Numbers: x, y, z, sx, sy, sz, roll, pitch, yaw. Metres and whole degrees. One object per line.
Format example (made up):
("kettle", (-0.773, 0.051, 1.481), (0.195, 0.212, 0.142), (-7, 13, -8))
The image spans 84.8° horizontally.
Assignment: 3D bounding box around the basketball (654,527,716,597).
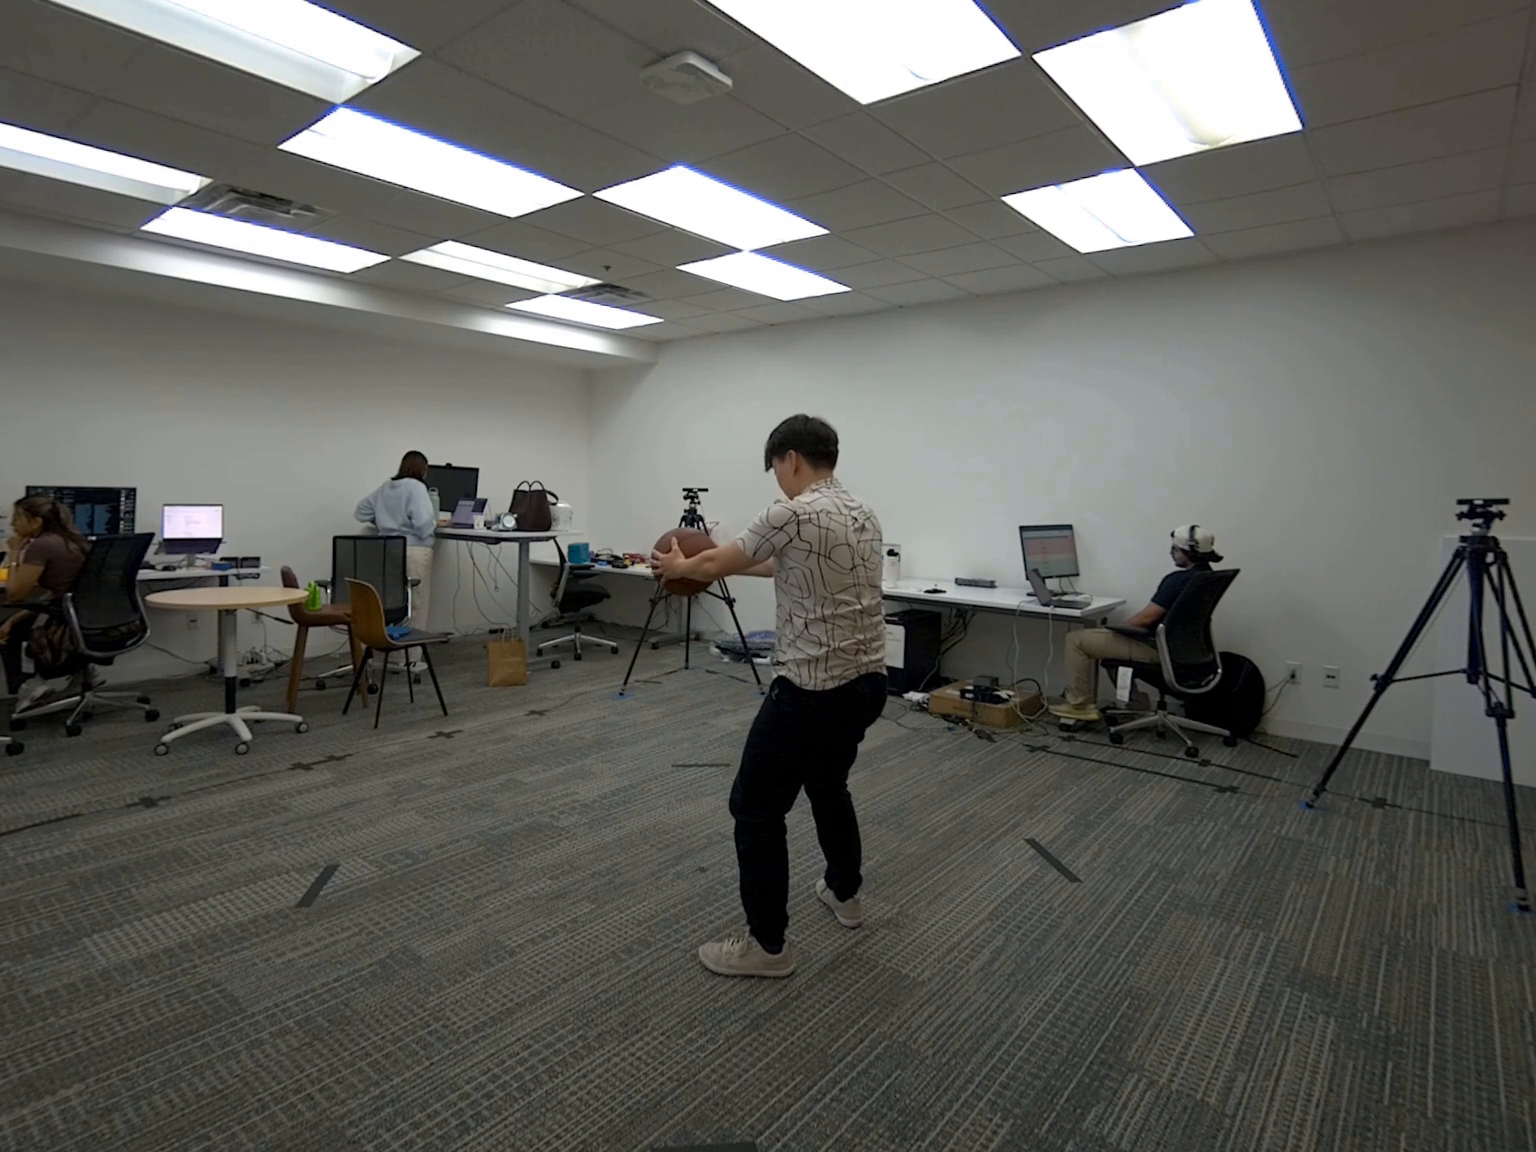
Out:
("basketball", (-0.296, -0.048, 2.936), (0.235, 0.235, 0.237), (1, 4, -2))
